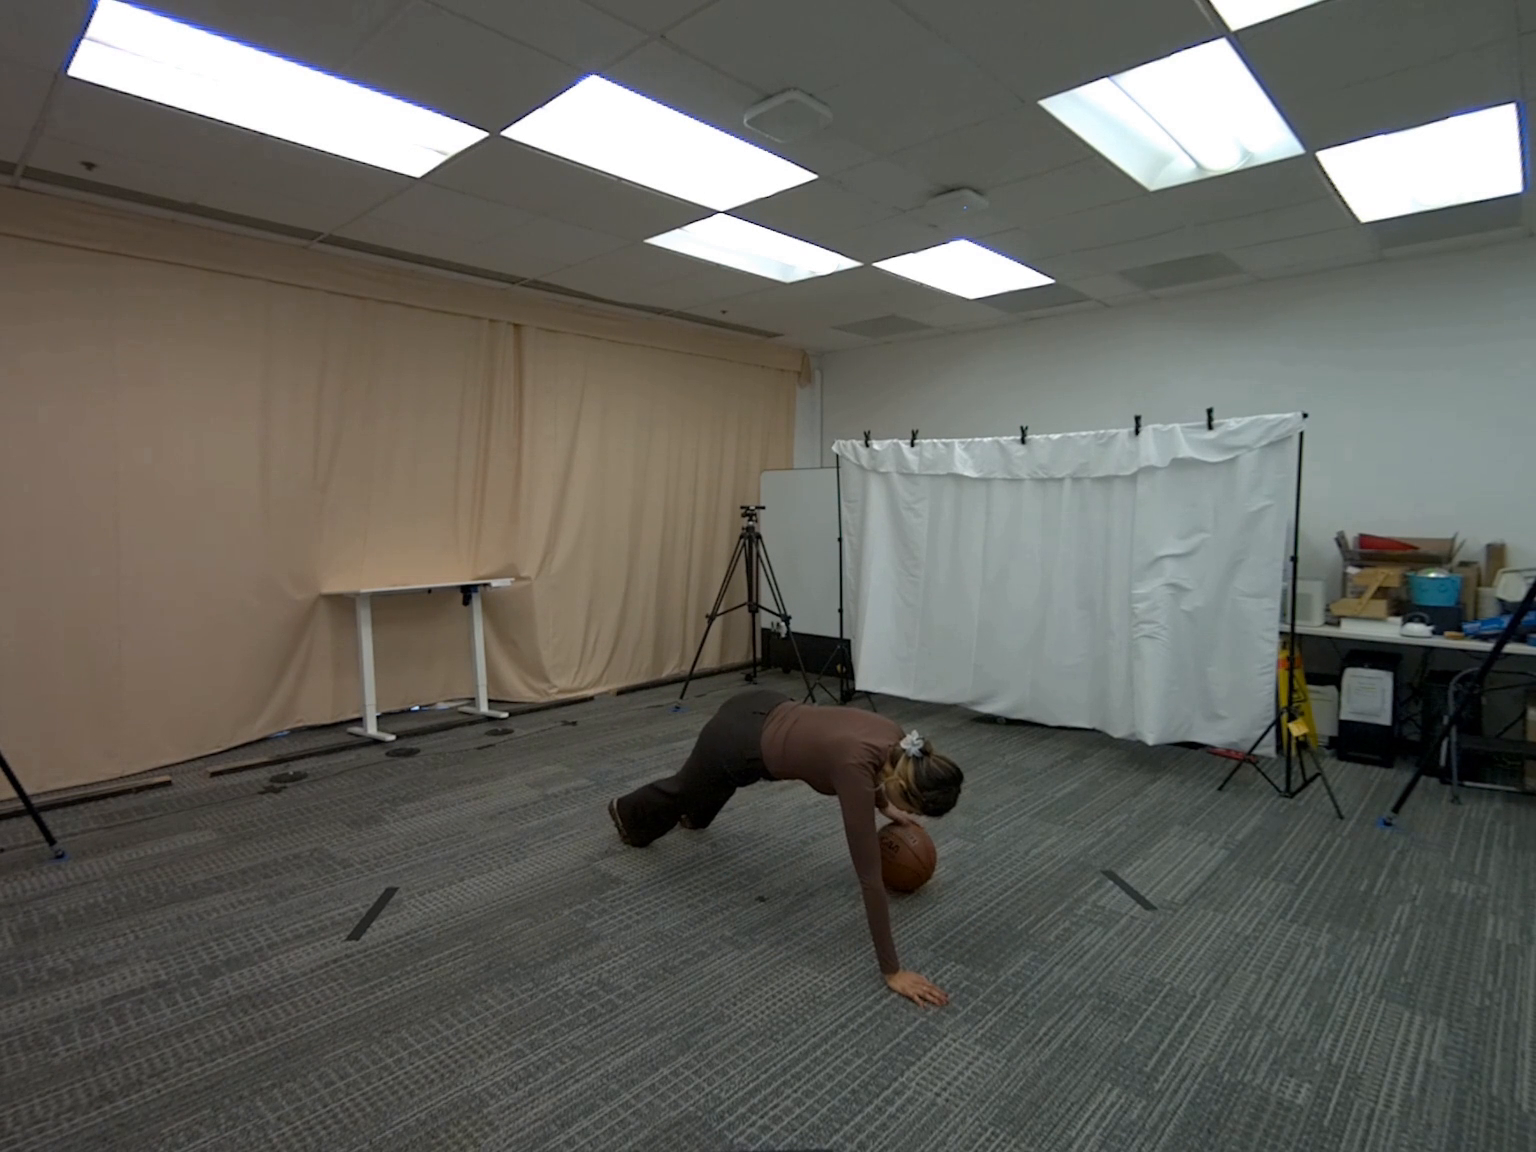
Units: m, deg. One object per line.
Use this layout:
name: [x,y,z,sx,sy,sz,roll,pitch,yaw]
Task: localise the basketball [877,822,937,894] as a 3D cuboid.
basketball: [0.491,1.017,3.050,0.236,0.235,0.237,0,4,-2]
